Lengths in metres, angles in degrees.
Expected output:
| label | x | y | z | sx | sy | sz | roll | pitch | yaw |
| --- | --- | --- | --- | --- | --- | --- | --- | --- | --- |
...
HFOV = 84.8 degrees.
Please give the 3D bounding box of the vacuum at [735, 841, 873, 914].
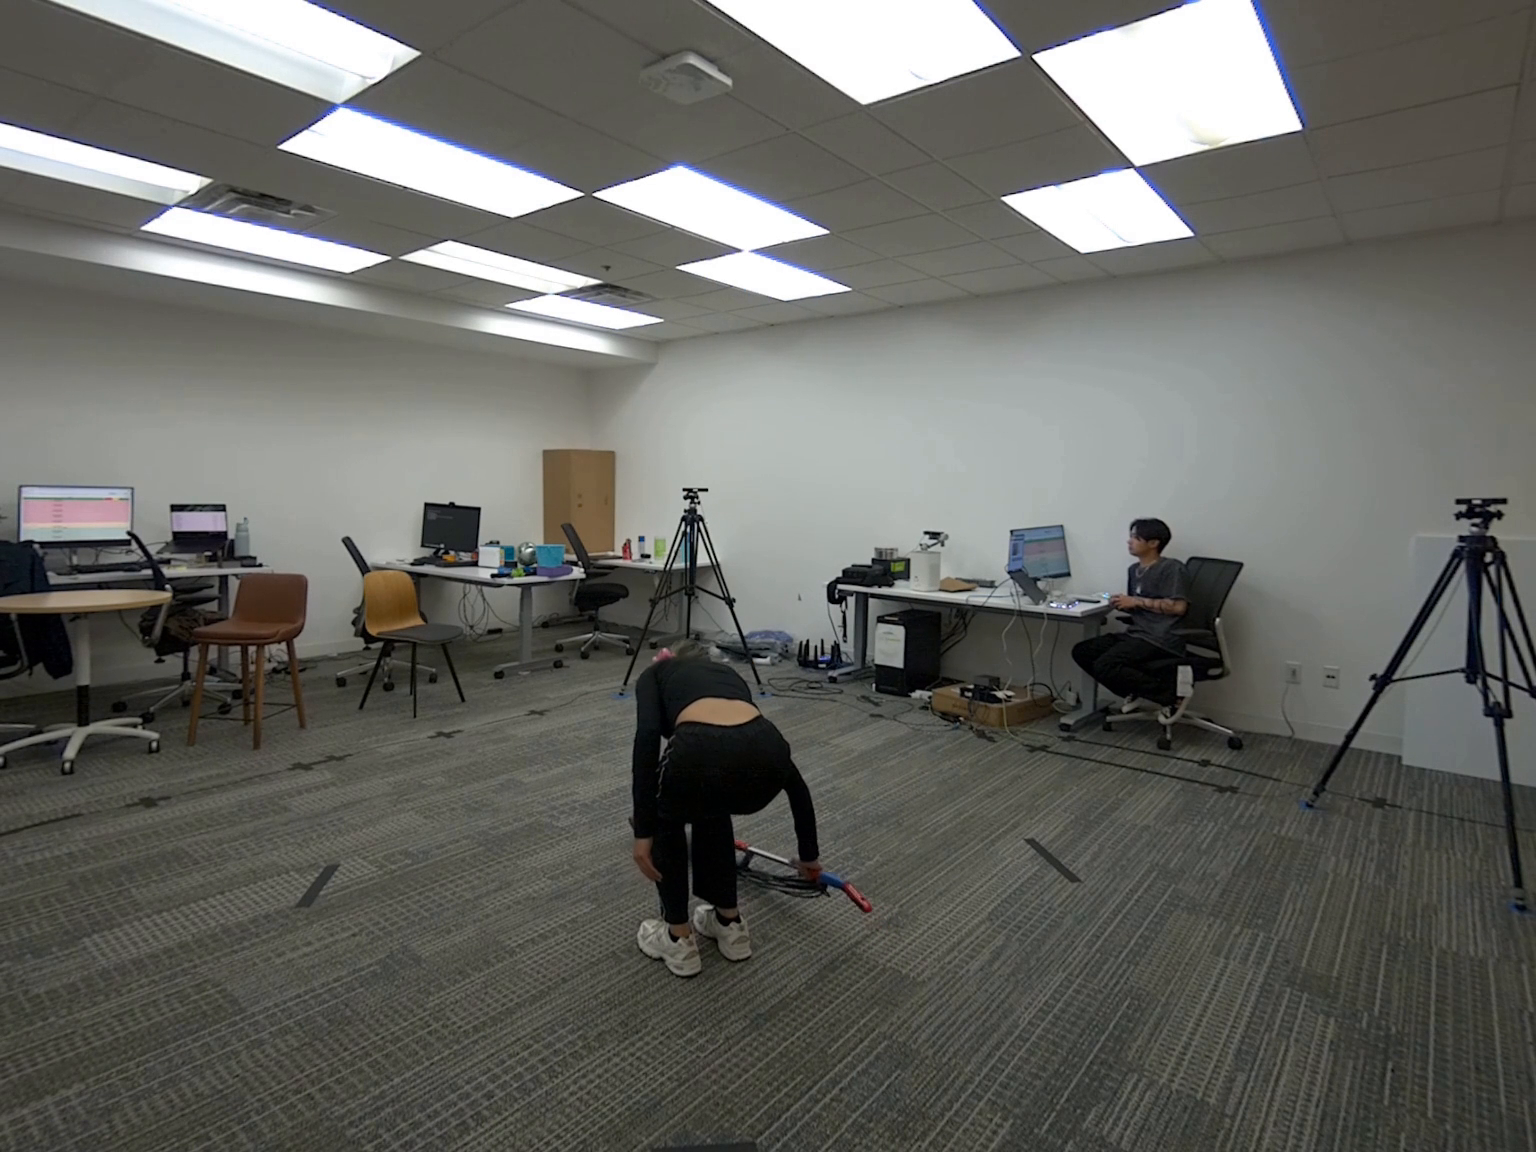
| label | x | y | z | sx | sy | sz | roll | pitch | yaw |
| --- | --- | --- | --- | --- | --- | --- | --- | --- | --- |
| vacuum | -0.068 | 0.987 | 2.946 | 0.245 | 0.144 | 1.082 | -3 | 3 | -41 |
